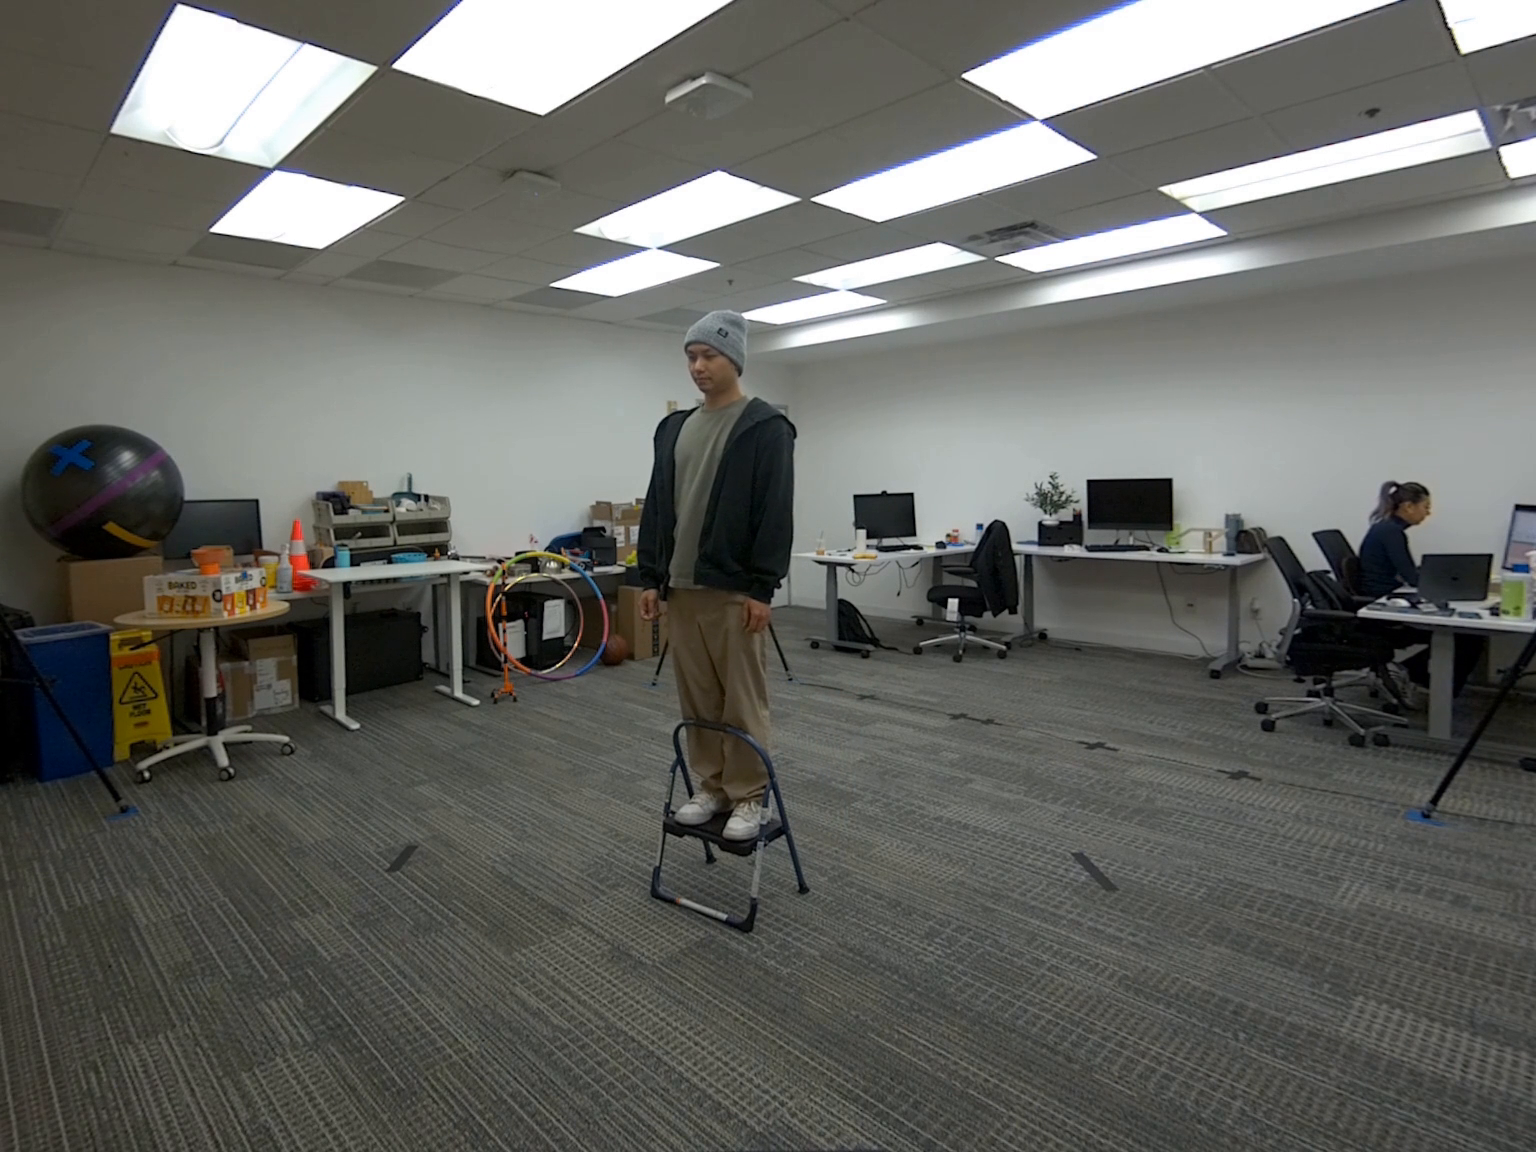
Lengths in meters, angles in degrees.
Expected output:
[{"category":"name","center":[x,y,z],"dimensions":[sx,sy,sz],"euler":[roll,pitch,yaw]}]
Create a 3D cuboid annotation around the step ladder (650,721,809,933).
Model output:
[{"category":"step ladder","center":[-0.137,0.771,2.863],"dimensions":[0.443,0.603,0.341],"euler":[2,6,35]}]
